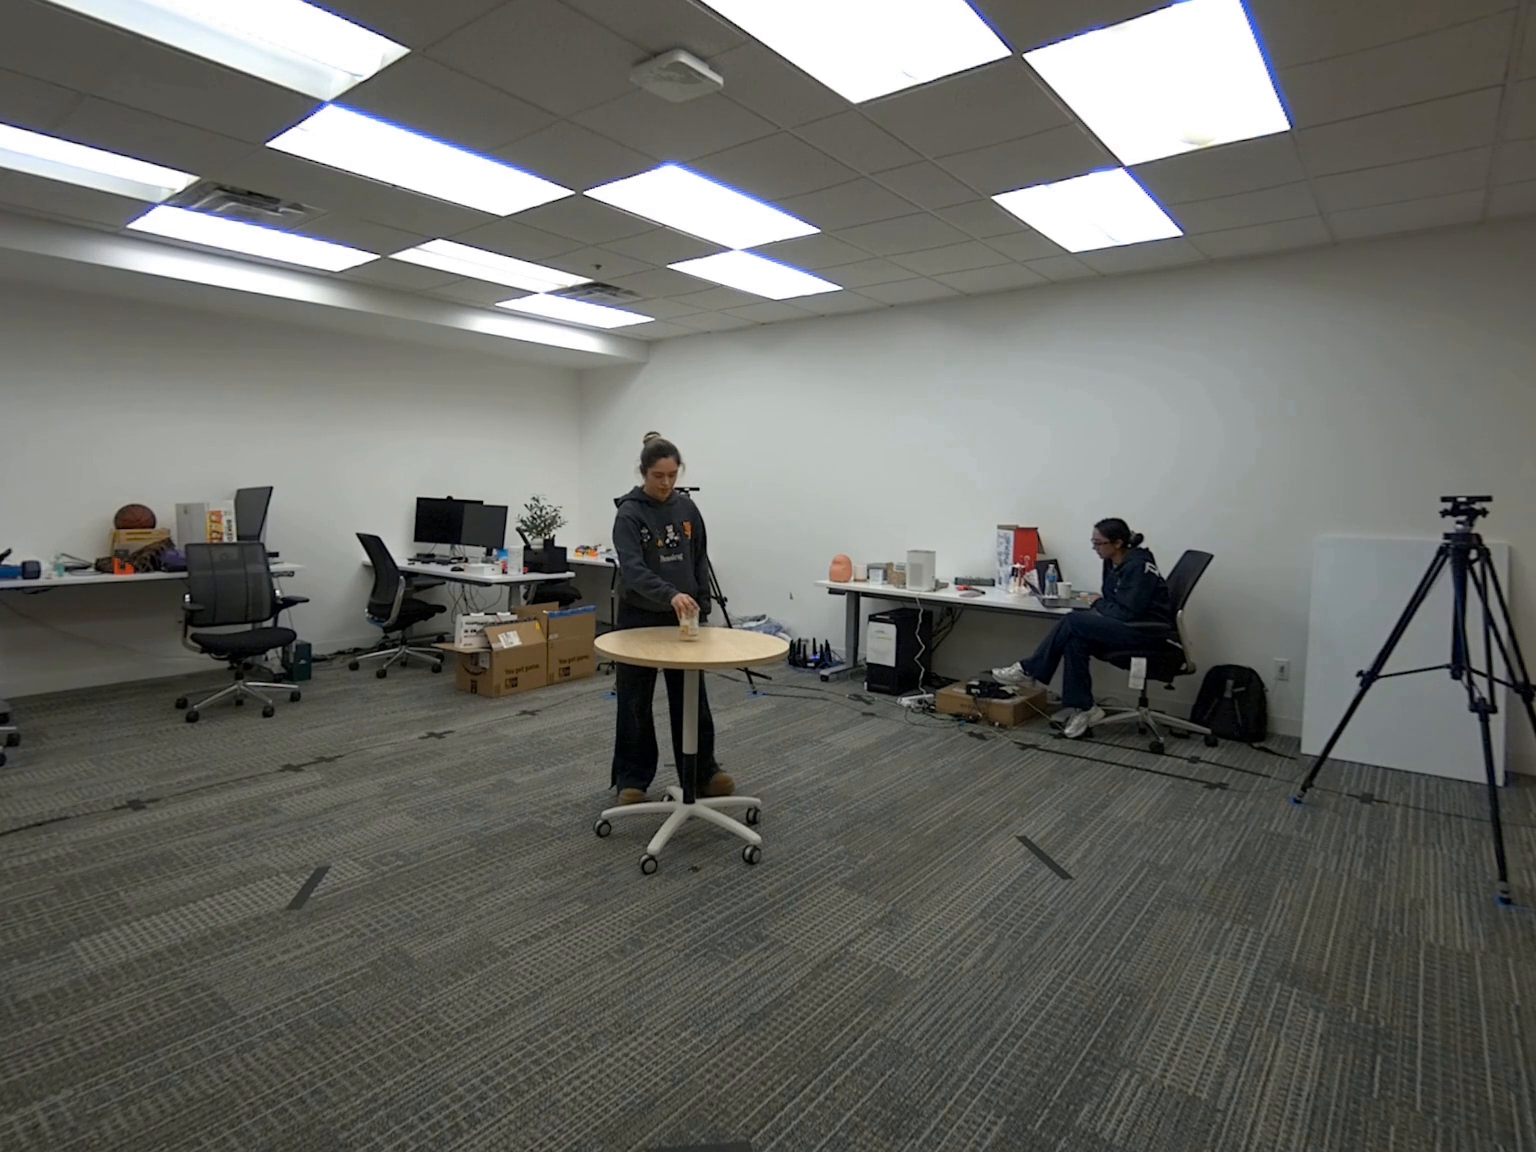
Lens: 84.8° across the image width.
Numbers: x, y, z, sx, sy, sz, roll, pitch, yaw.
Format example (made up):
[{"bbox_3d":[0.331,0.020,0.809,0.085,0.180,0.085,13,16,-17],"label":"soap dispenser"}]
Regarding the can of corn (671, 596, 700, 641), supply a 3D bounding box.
[{"bbox_3d":[-0.330,0.174,3.377,0.074,0.110,0.074,0,4,-2],"label":"can of corn"}]
